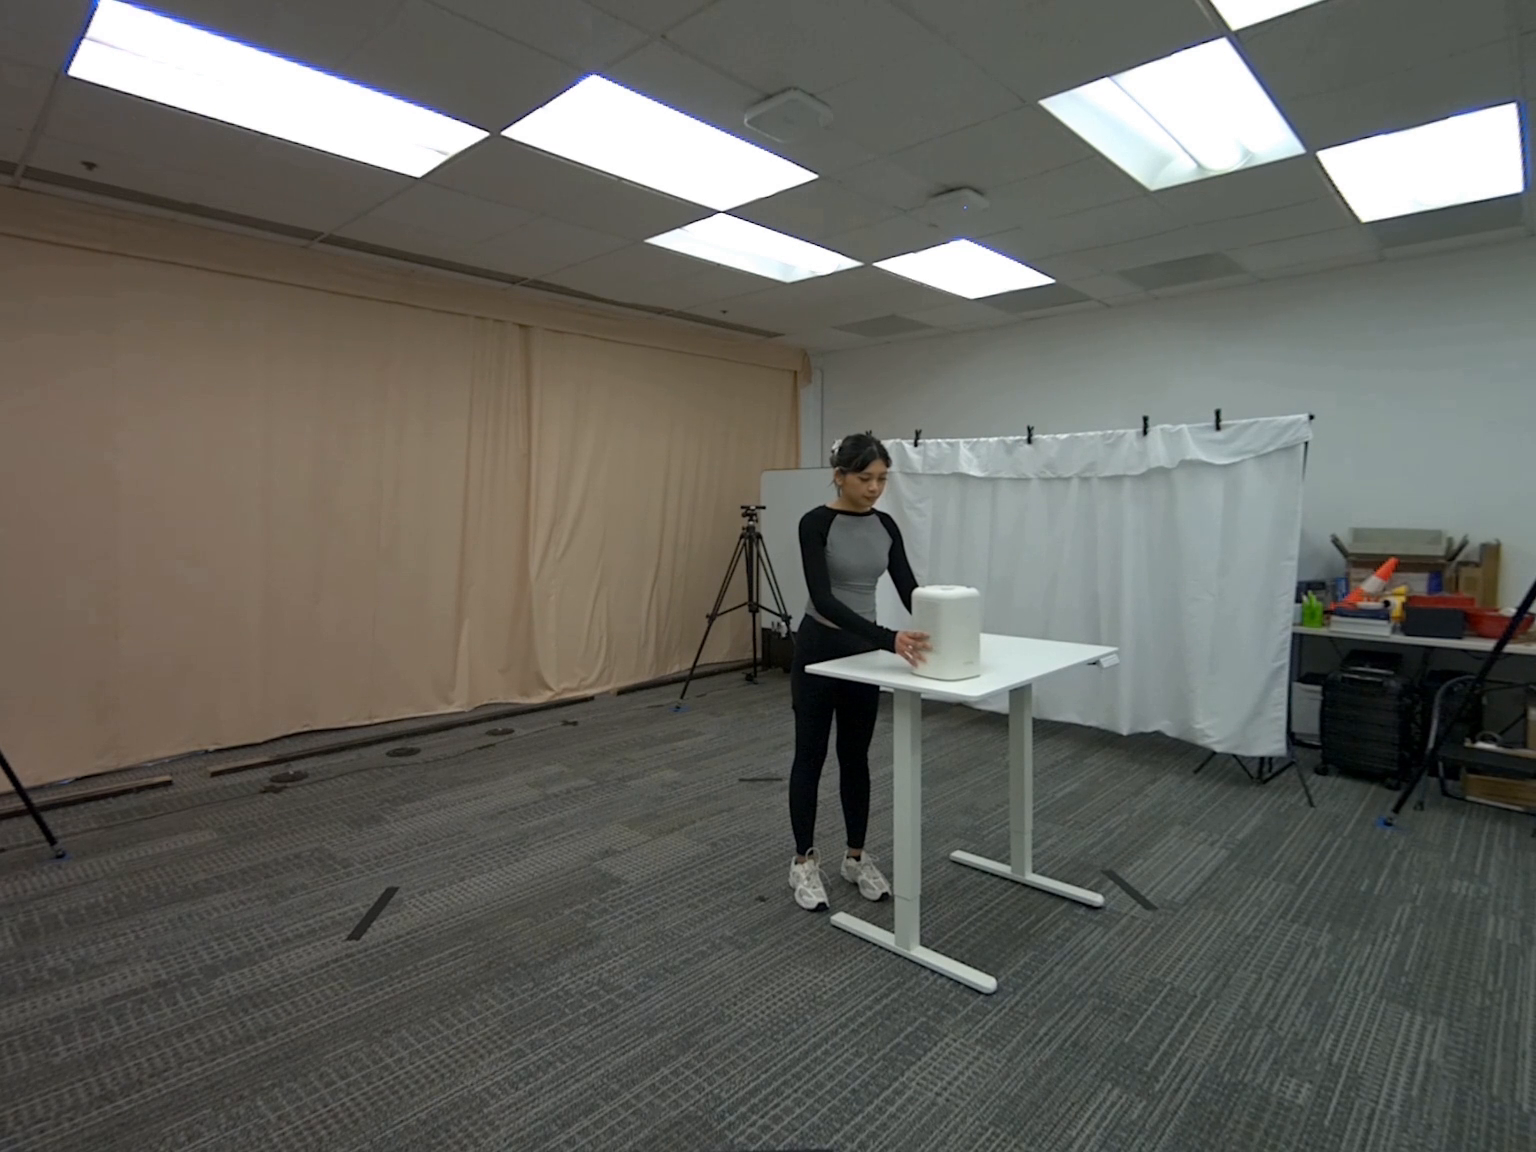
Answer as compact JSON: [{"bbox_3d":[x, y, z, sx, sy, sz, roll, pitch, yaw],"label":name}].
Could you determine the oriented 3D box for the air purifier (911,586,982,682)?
[{"bbox_3d":[0.540,0.166,2.538,0.166,0.264,0.177,-5,5,-35],"label":"air purifier"}]
